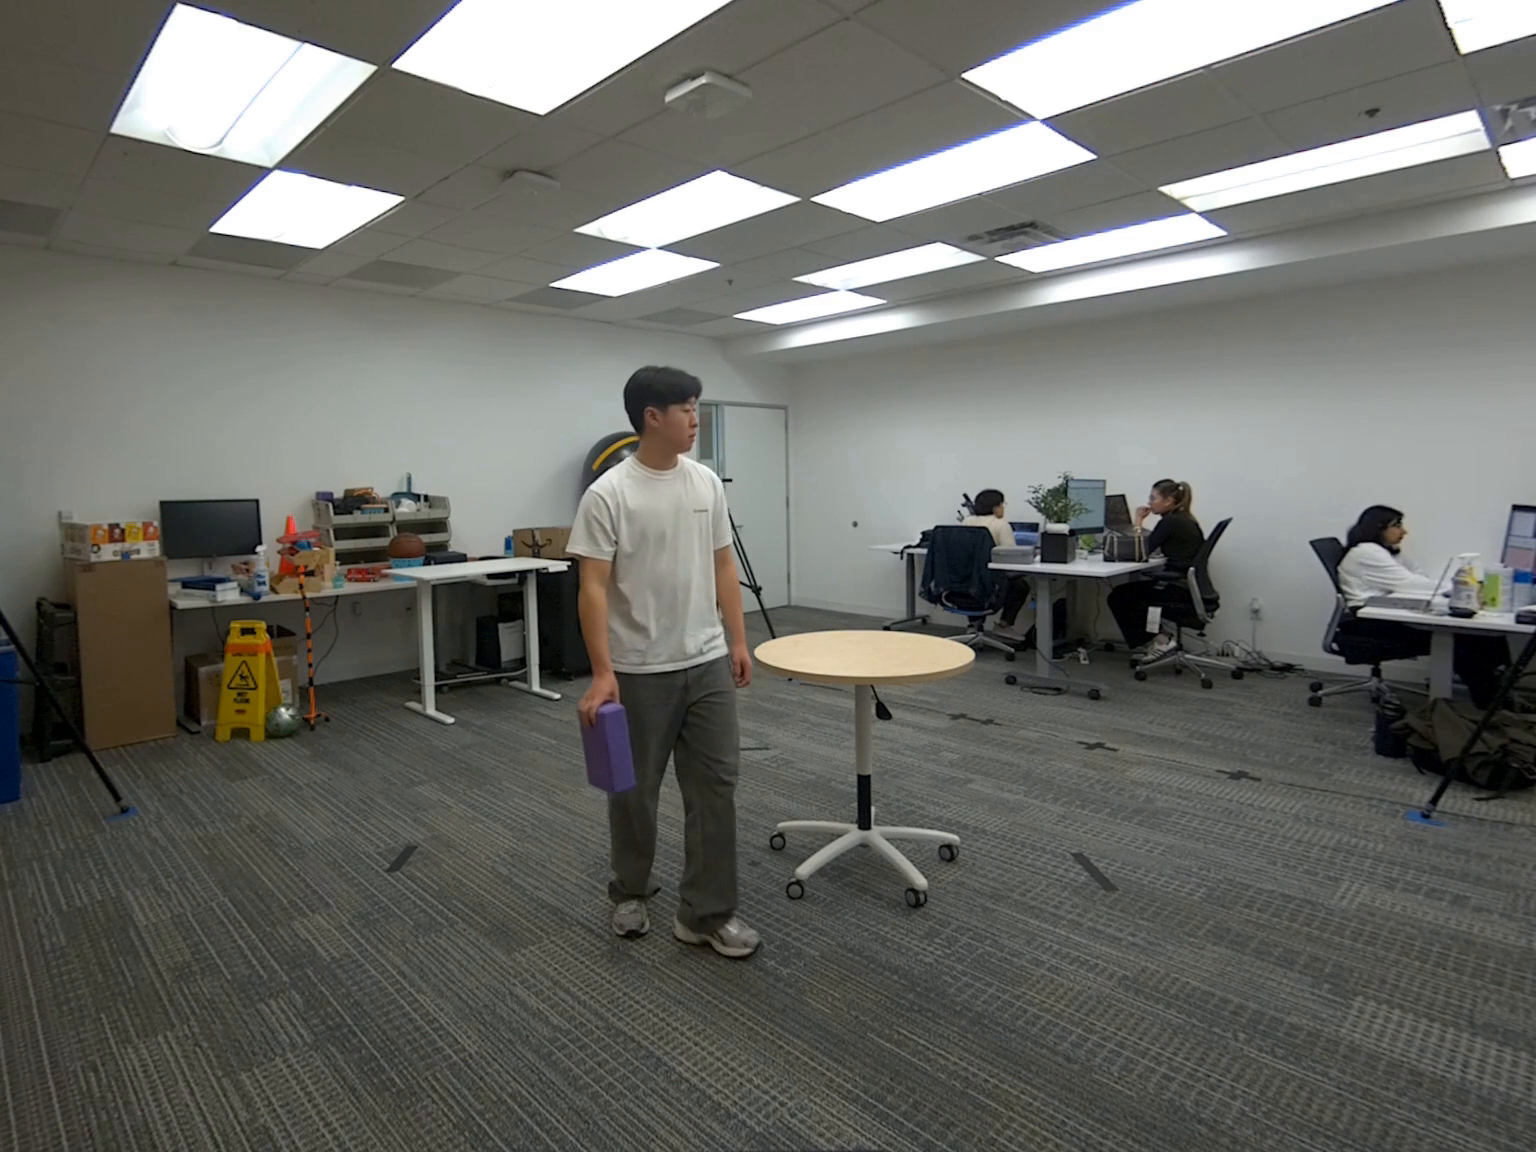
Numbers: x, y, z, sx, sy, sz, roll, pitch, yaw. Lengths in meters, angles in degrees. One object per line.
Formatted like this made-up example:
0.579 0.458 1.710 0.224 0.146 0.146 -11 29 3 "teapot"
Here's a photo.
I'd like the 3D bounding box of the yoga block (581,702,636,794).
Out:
-0.440 0.472 2.357 0.075 0.228 0.153 -9 4 -34 "yoga block"
